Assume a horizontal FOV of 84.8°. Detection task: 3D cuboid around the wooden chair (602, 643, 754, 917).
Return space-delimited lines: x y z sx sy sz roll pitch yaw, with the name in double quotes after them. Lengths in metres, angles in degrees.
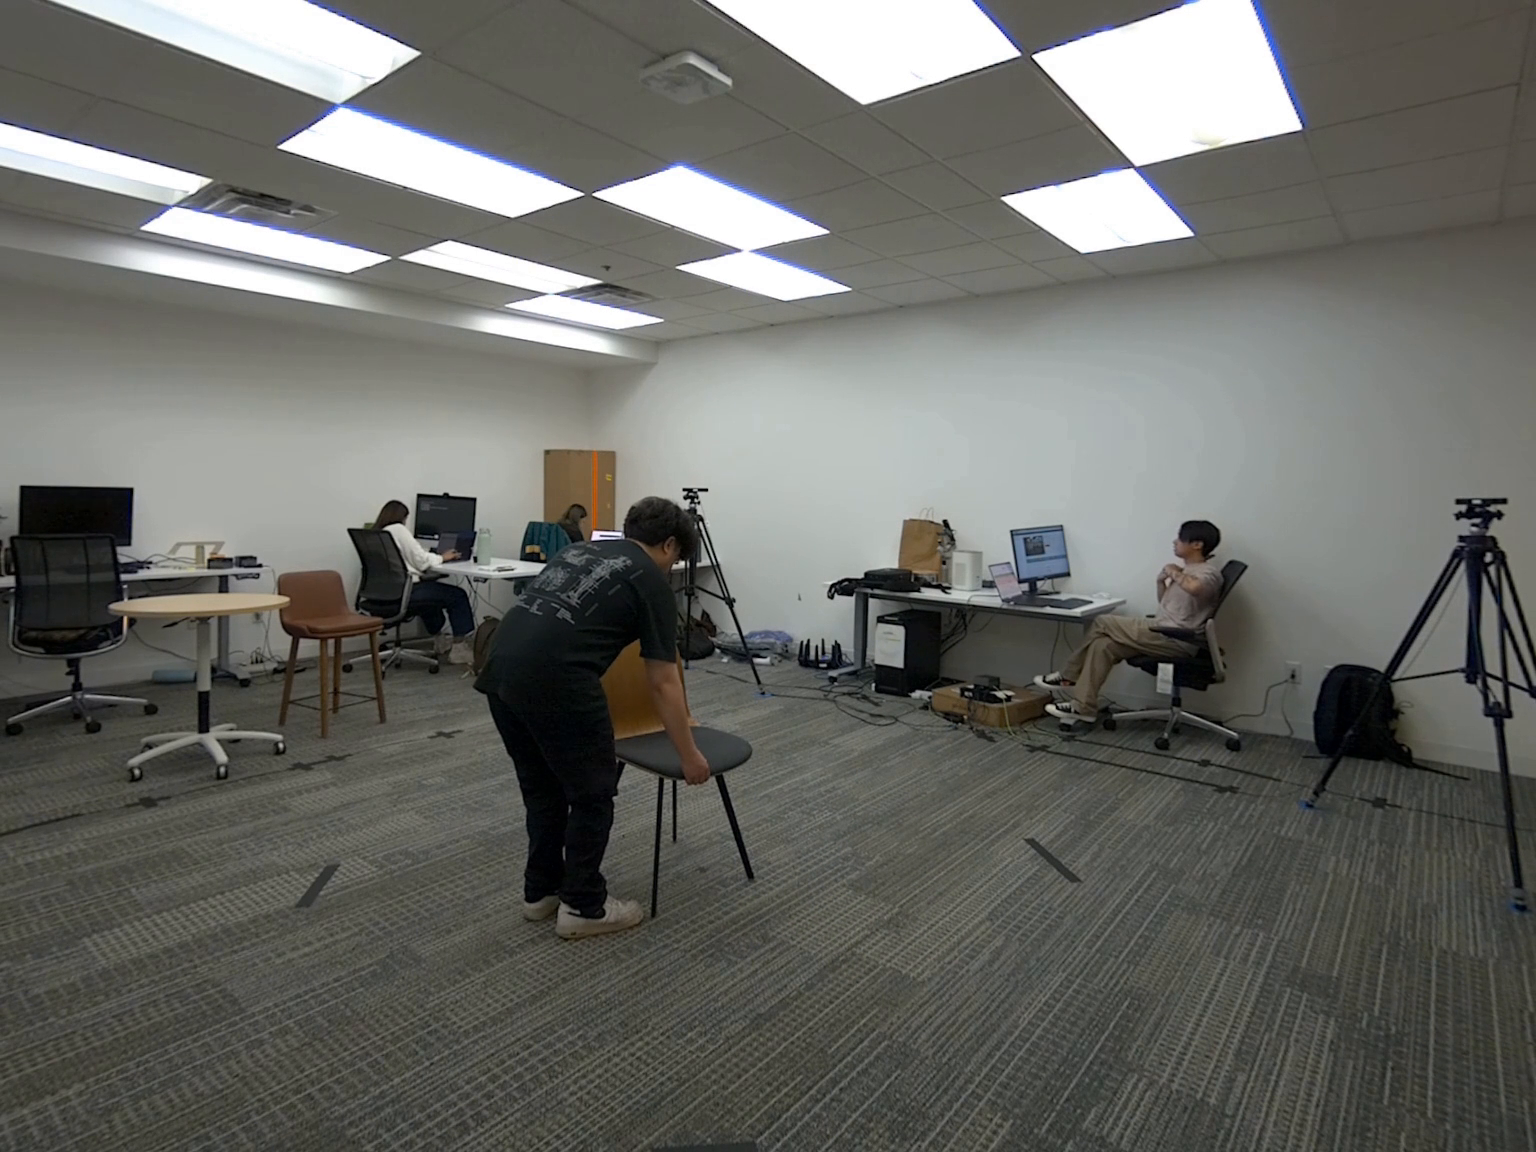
-0.356 0.643 3.023 0.463 0.878 0.539 -2 0 -44 "wooden chair"
